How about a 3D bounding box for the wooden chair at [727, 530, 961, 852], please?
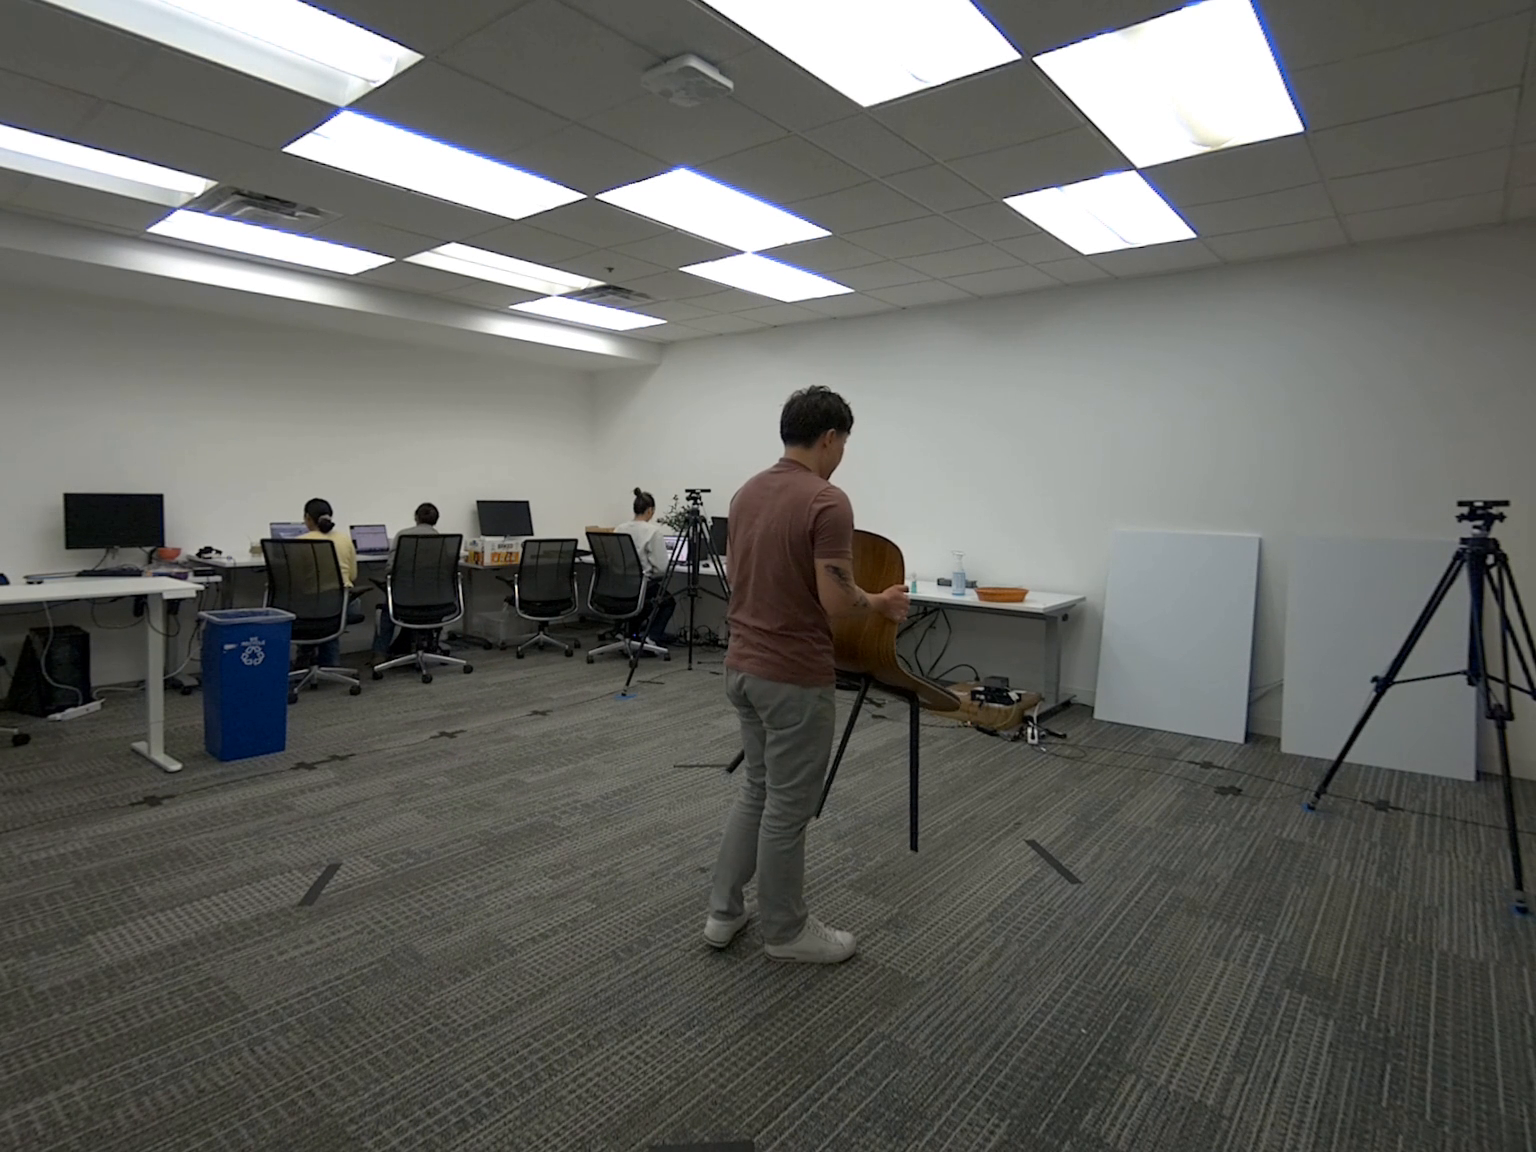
[{"bbox_3d":[0.306,0.343,2.746,0.504,0.882,0.494,23,-10,-35],"label":"wooden chair"}]
